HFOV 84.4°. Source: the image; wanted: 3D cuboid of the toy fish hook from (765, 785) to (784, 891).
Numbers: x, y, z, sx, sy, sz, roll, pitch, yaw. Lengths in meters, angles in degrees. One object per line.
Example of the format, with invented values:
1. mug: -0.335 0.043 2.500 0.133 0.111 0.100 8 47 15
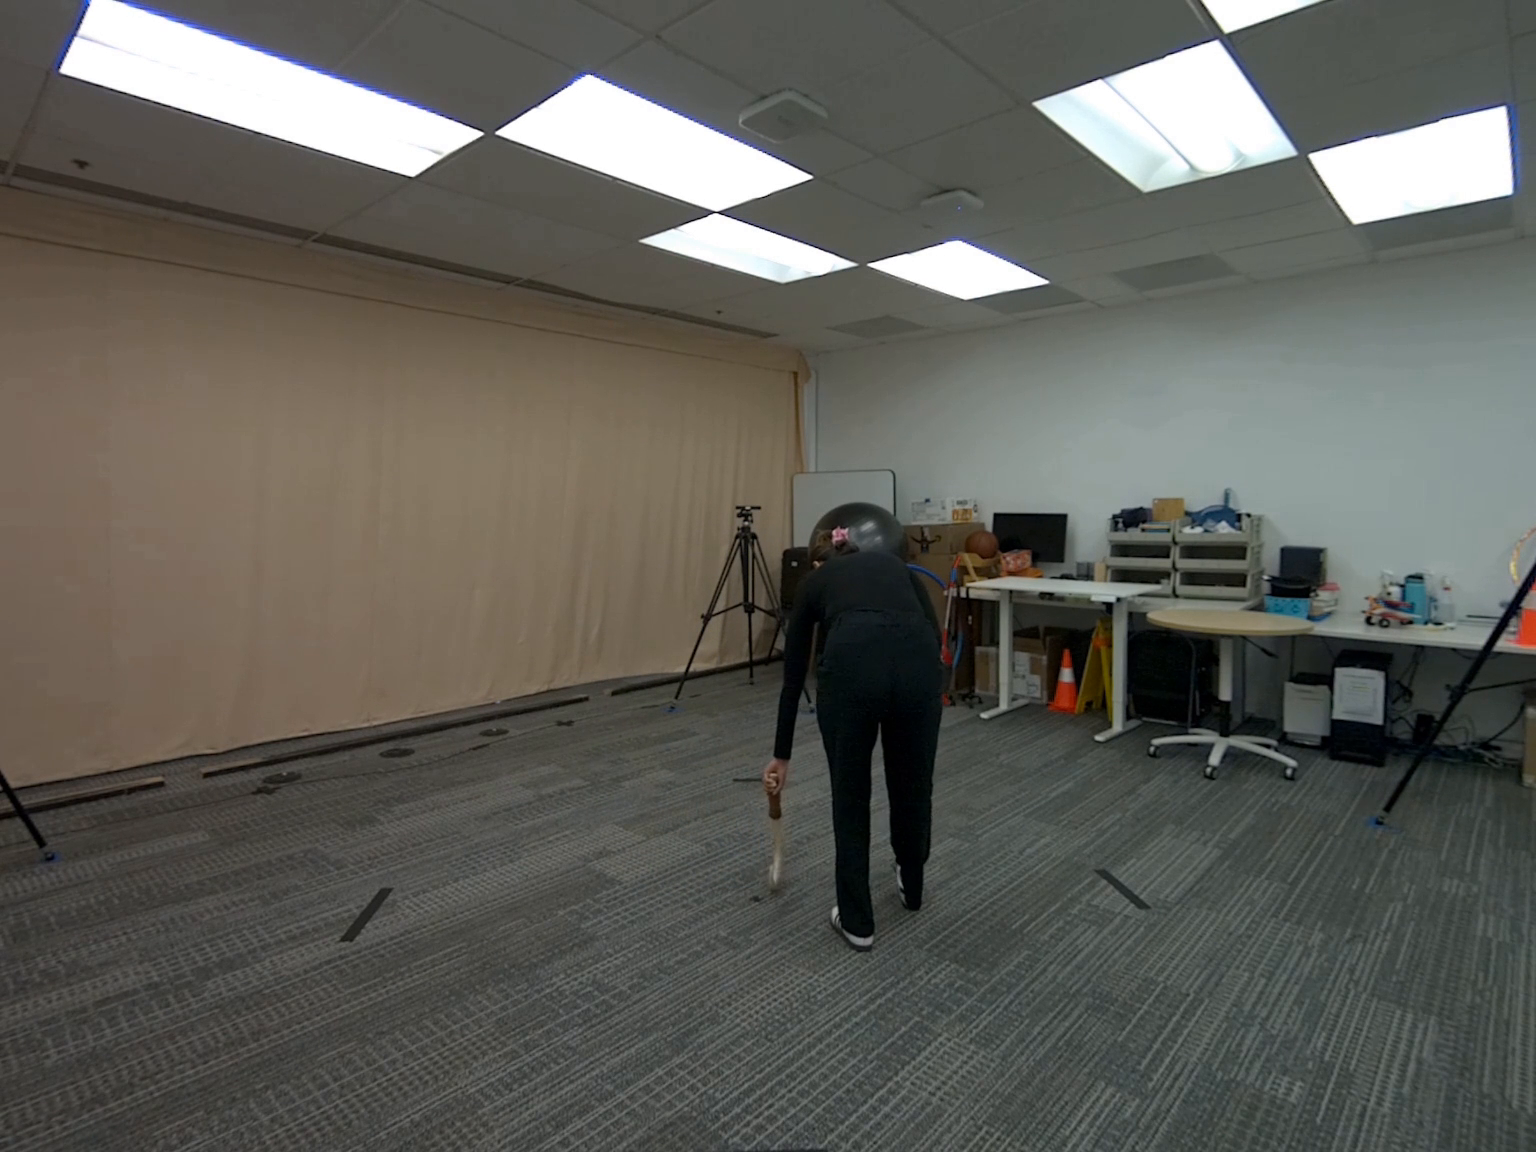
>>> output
1. toy fish hook: 0.026 0.912 2.956 0.049 0.496 0.227 0 34 9
